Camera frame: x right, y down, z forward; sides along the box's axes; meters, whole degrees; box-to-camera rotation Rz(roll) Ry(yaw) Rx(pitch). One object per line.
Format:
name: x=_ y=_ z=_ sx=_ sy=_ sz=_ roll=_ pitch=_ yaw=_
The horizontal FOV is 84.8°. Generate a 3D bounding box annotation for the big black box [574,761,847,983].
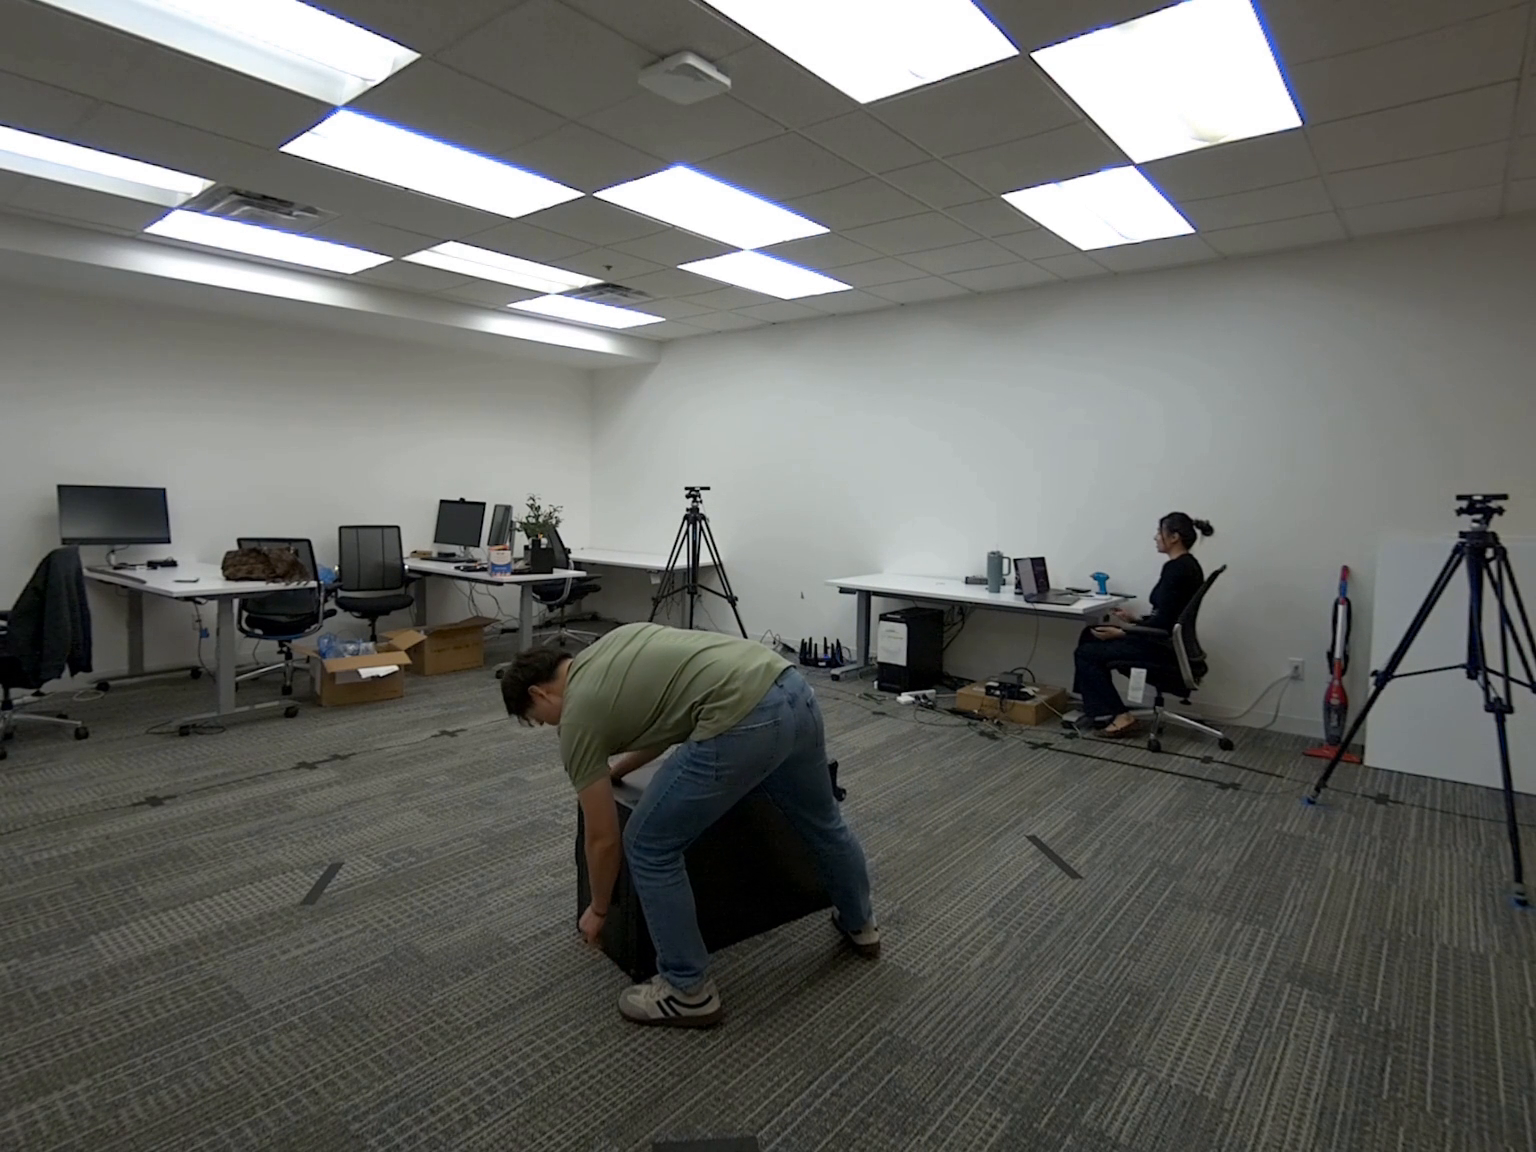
big black box: x=-0.168 y=0.861 z=2.773 sx=0.836 sy=0.520 sz=0.409 roll=-2 pitch=4 yaw=-37
